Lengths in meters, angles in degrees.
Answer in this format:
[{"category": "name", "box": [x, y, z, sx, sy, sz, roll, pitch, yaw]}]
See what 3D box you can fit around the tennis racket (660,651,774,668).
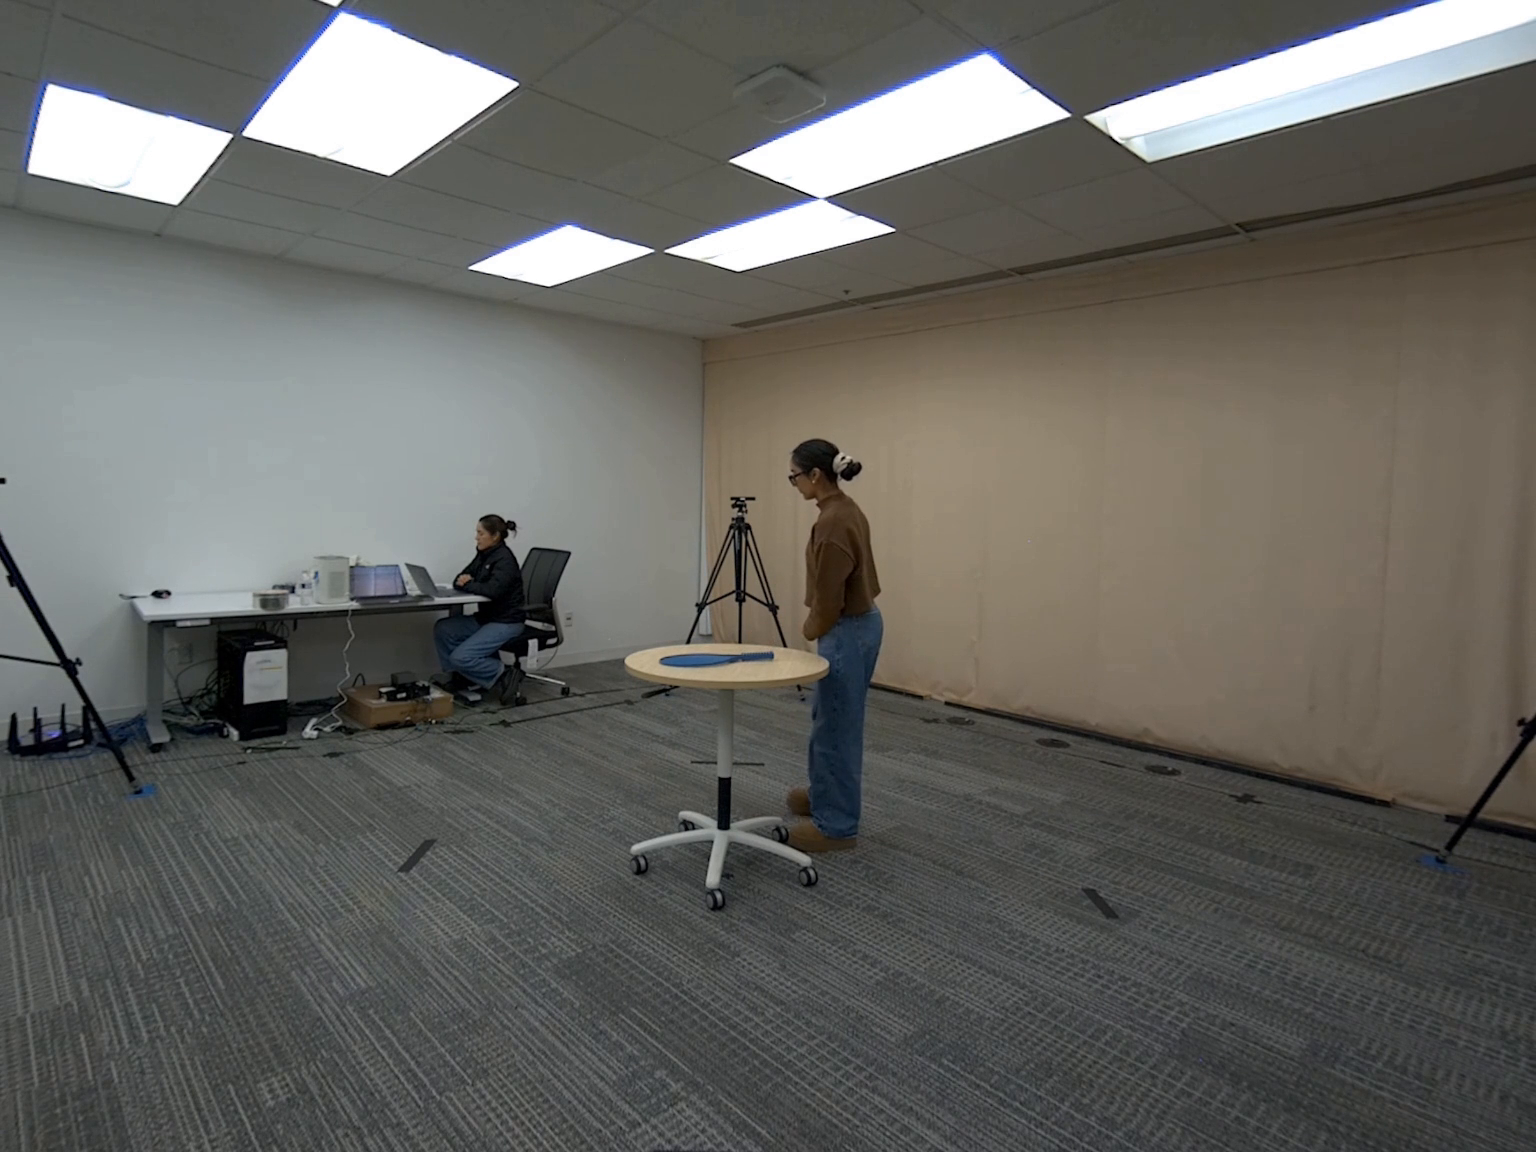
[{"category": "tennis racket", "box": [-0.200, 0.313, 3.132, 0.430, 0.031, 0.216, -1, 5, -10]}]
